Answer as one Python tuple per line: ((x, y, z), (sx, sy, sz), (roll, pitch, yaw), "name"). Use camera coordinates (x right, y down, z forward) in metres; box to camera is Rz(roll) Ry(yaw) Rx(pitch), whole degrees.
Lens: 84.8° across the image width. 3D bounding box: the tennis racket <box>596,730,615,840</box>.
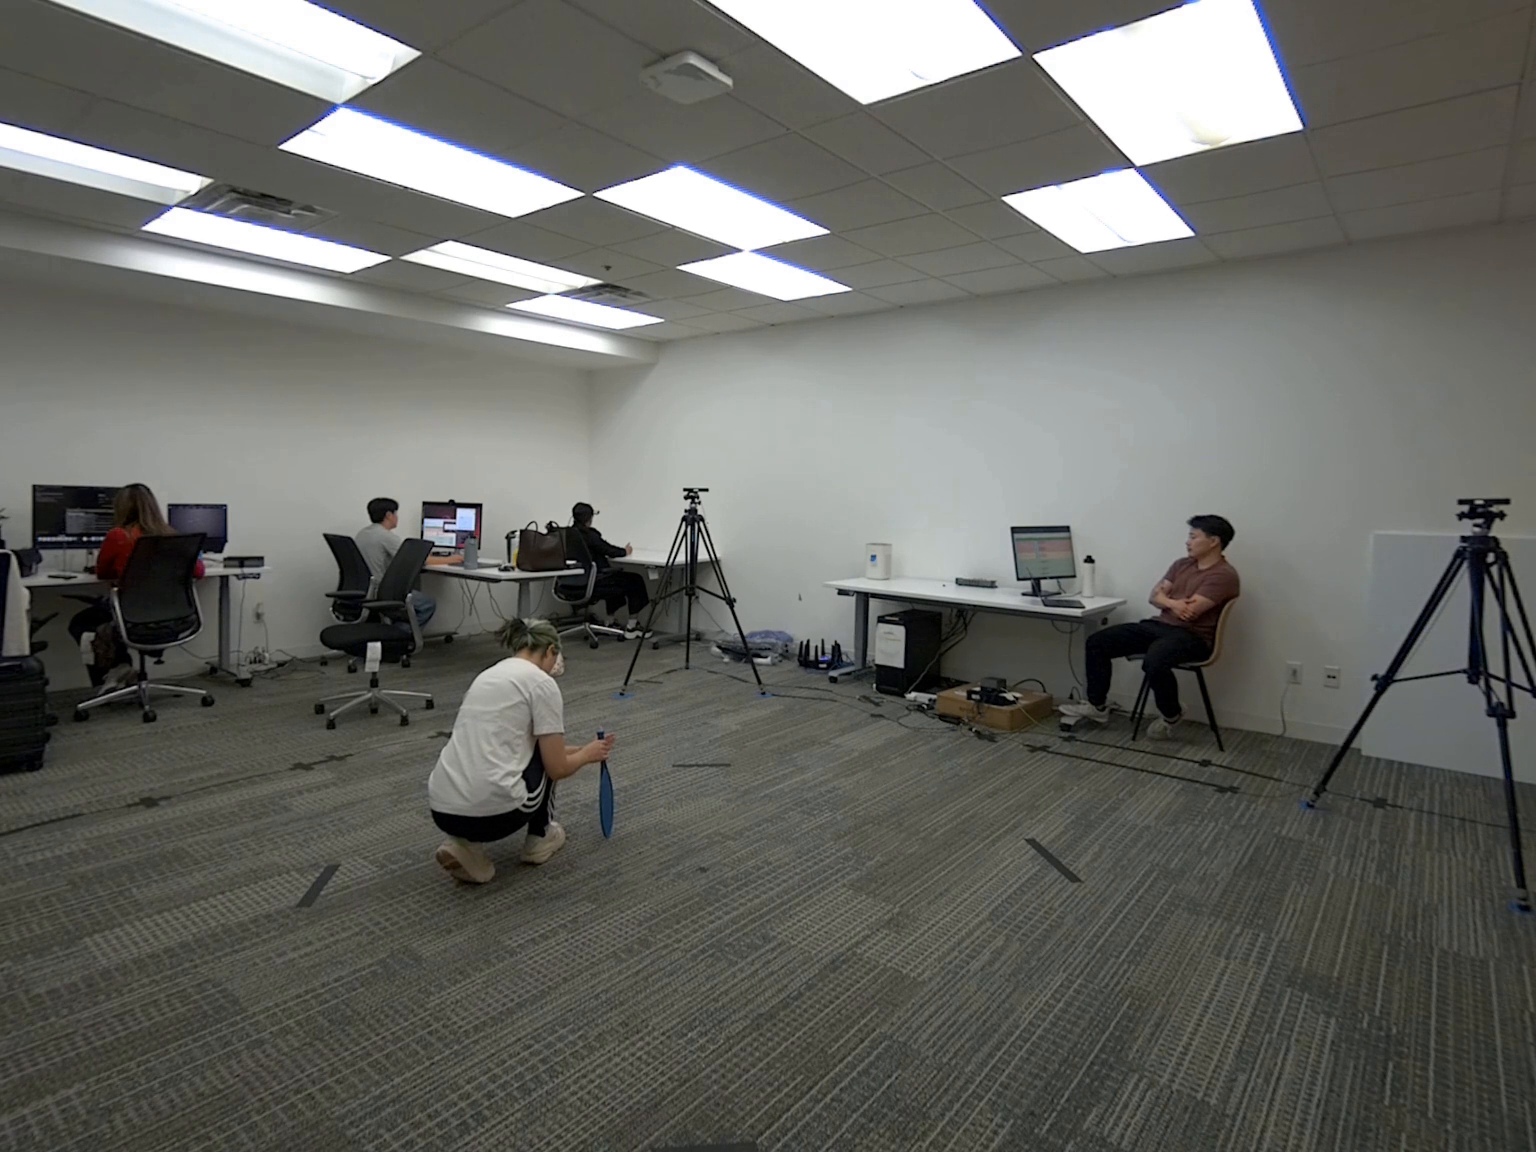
((-0.662, 0.826, 3.375), (0.032, 0.431, 0.214), (-3, 4, 2), "tennis racket")
